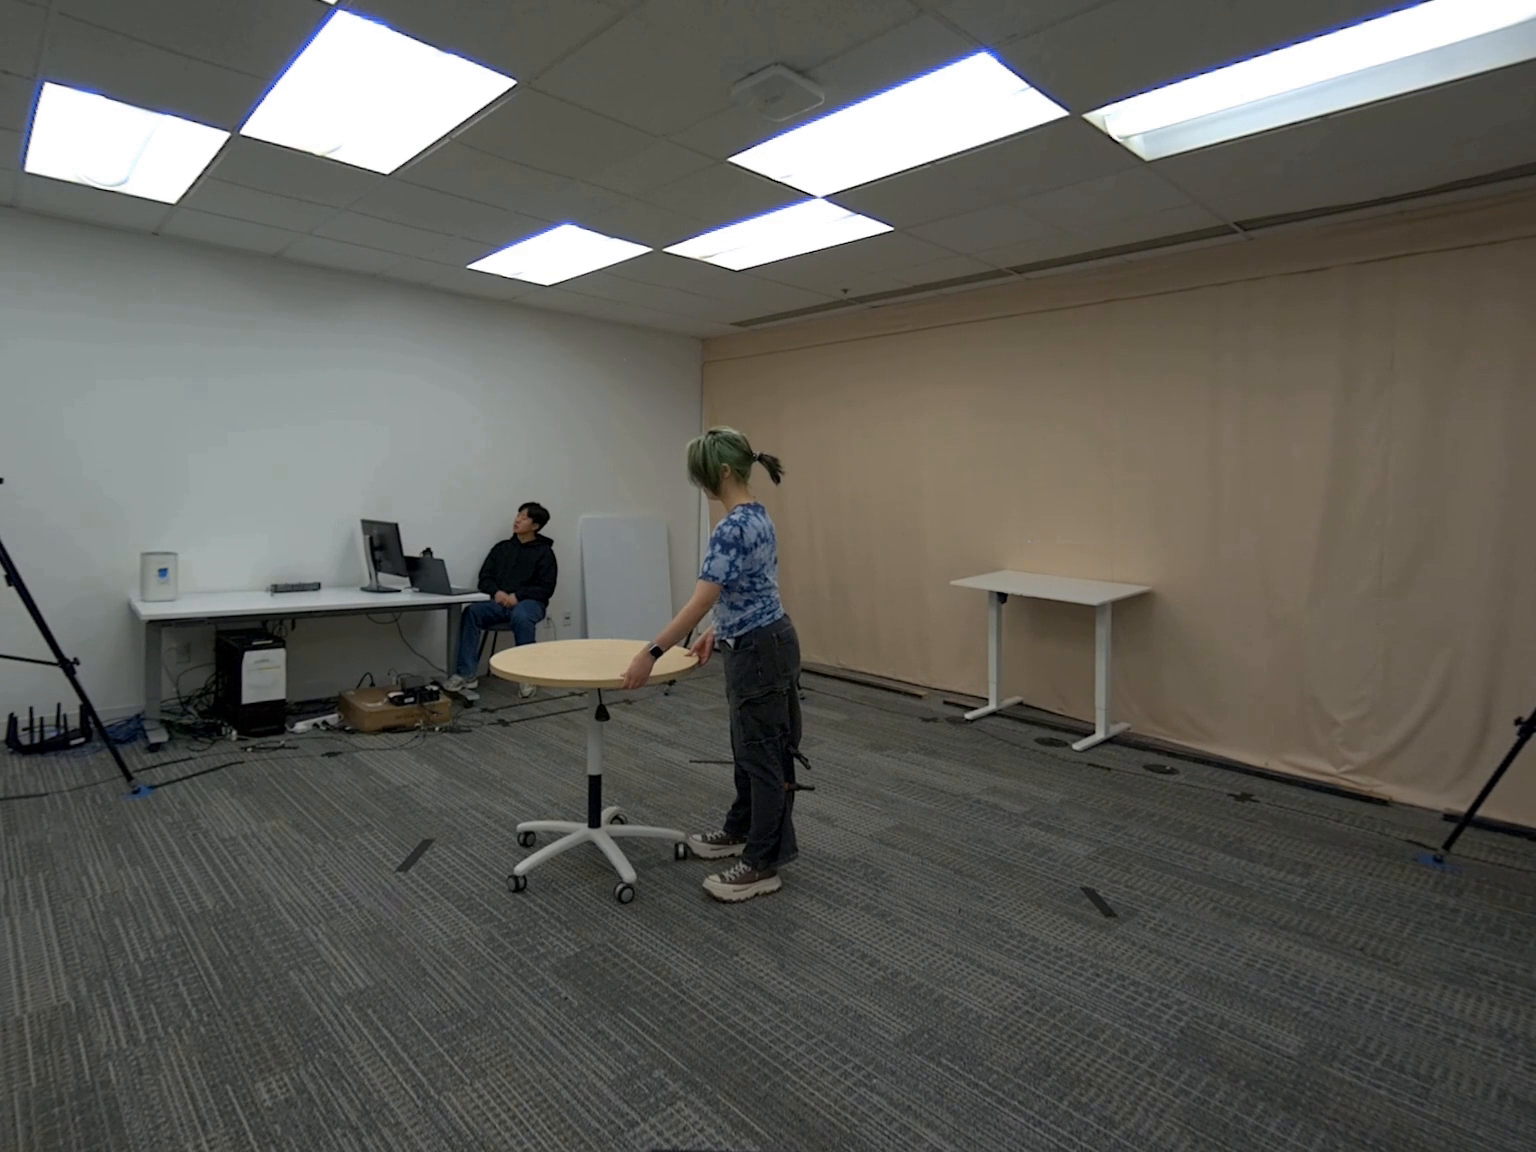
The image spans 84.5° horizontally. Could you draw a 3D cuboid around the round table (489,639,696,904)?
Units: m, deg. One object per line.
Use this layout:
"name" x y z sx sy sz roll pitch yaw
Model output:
"round table" -0.651 0.698 3.159 0.763 0.792 0.766 1 4 -1
